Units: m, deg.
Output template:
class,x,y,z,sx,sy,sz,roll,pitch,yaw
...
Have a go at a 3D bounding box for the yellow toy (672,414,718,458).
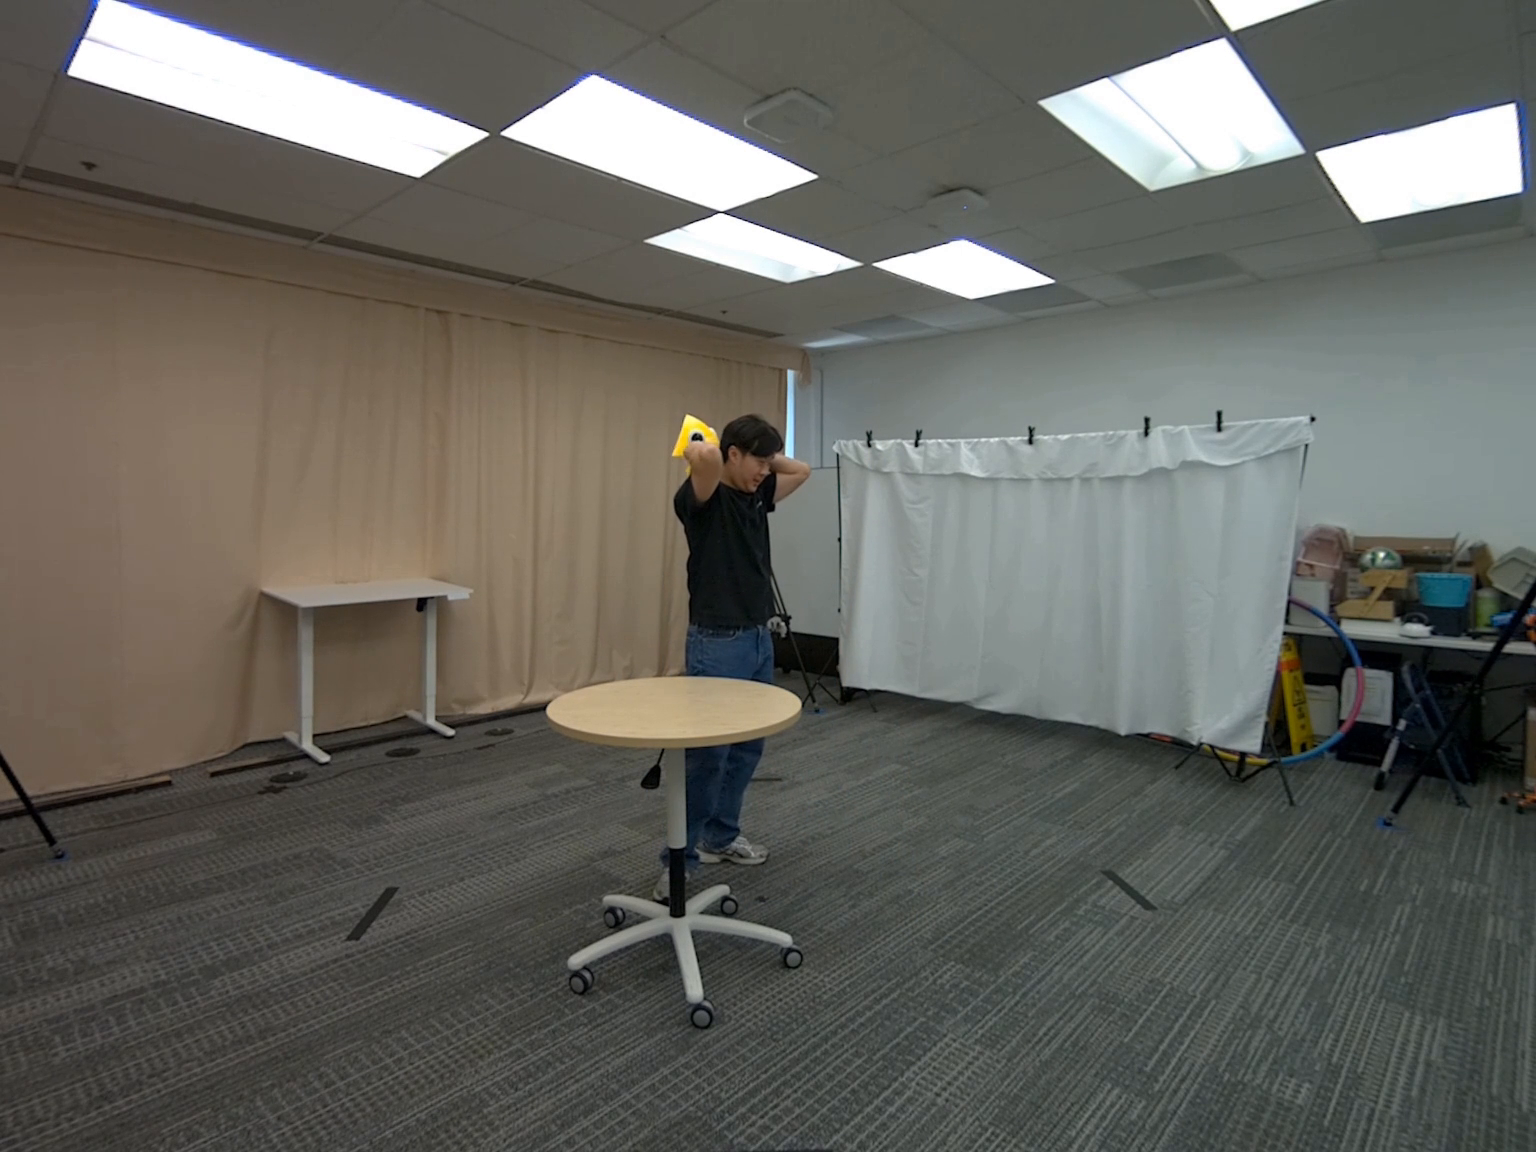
class,x,y,z,sx,sy,sz,roll,pitch,yaw
yellow toy,-0.253,-0.538,3.303,0.198,0.229,0.200,-5,8,31
